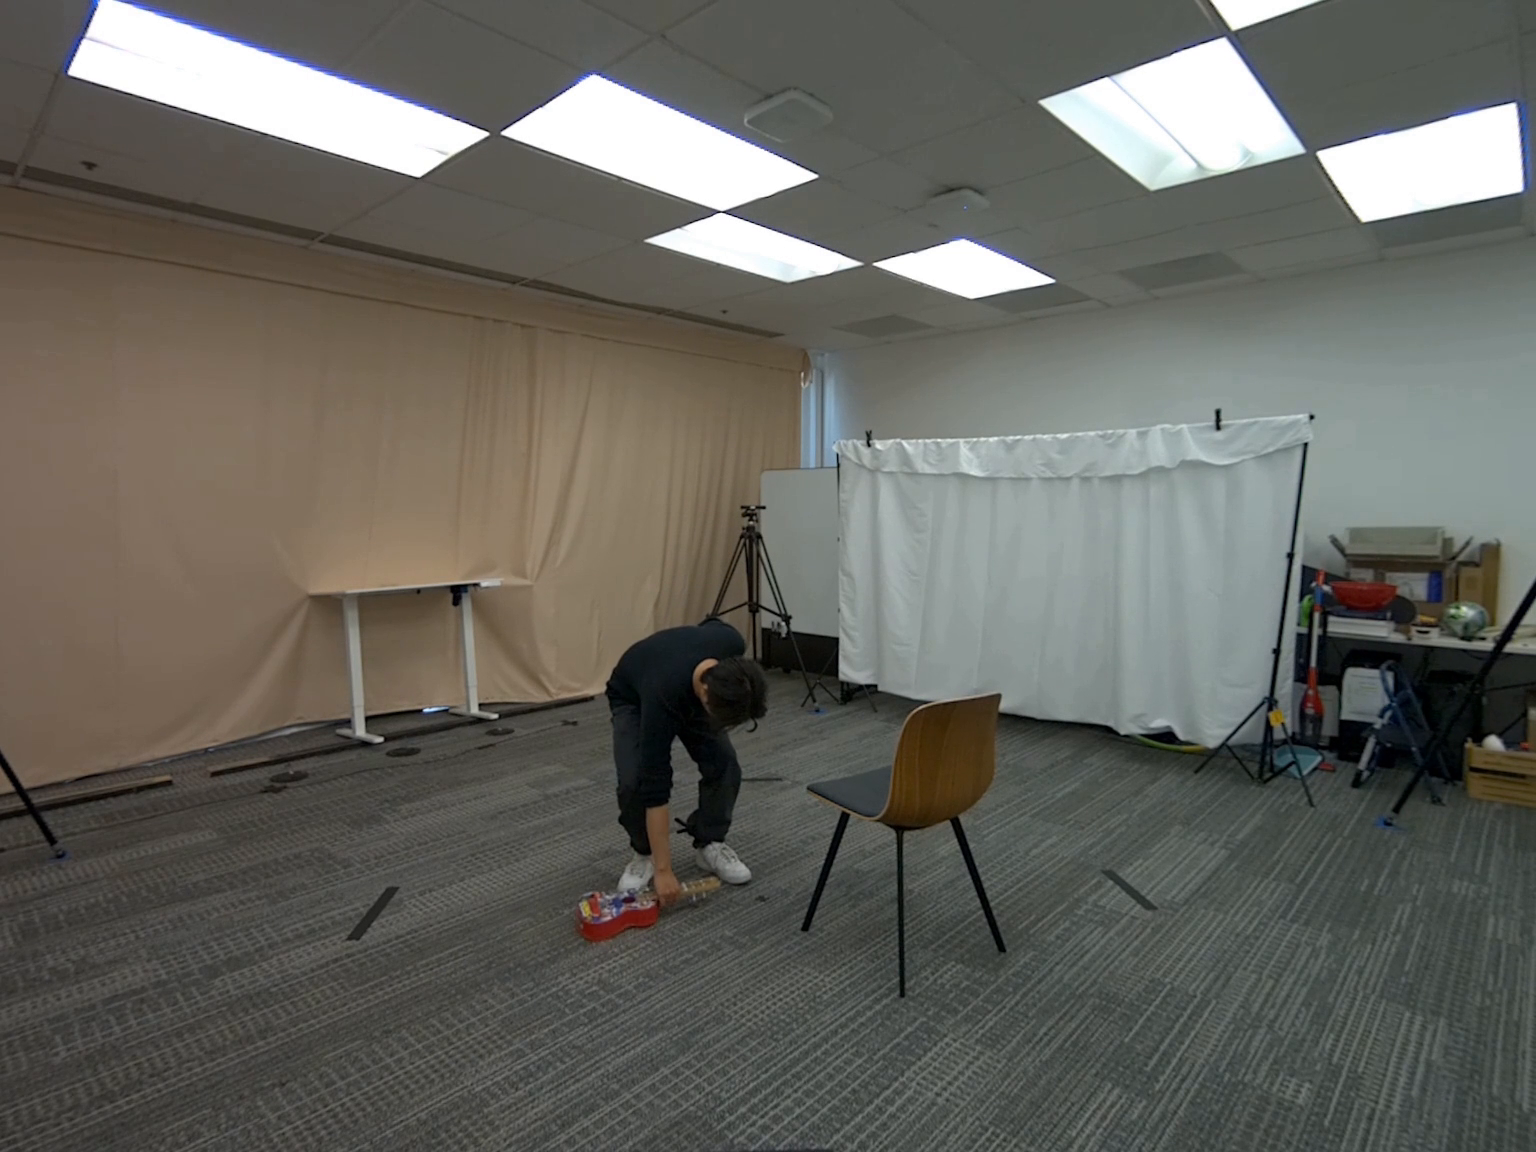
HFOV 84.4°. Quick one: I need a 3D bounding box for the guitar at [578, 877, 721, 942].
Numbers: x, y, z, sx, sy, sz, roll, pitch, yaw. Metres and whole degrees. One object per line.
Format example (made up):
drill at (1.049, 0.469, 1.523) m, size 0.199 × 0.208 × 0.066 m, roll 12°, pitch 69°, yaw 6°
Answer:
guitar at (-0.388, 1.102, 2.828) m, size 0.492 × 0.070 × 0.196 m, roll -2°, pitch 10°, yaw -11°
